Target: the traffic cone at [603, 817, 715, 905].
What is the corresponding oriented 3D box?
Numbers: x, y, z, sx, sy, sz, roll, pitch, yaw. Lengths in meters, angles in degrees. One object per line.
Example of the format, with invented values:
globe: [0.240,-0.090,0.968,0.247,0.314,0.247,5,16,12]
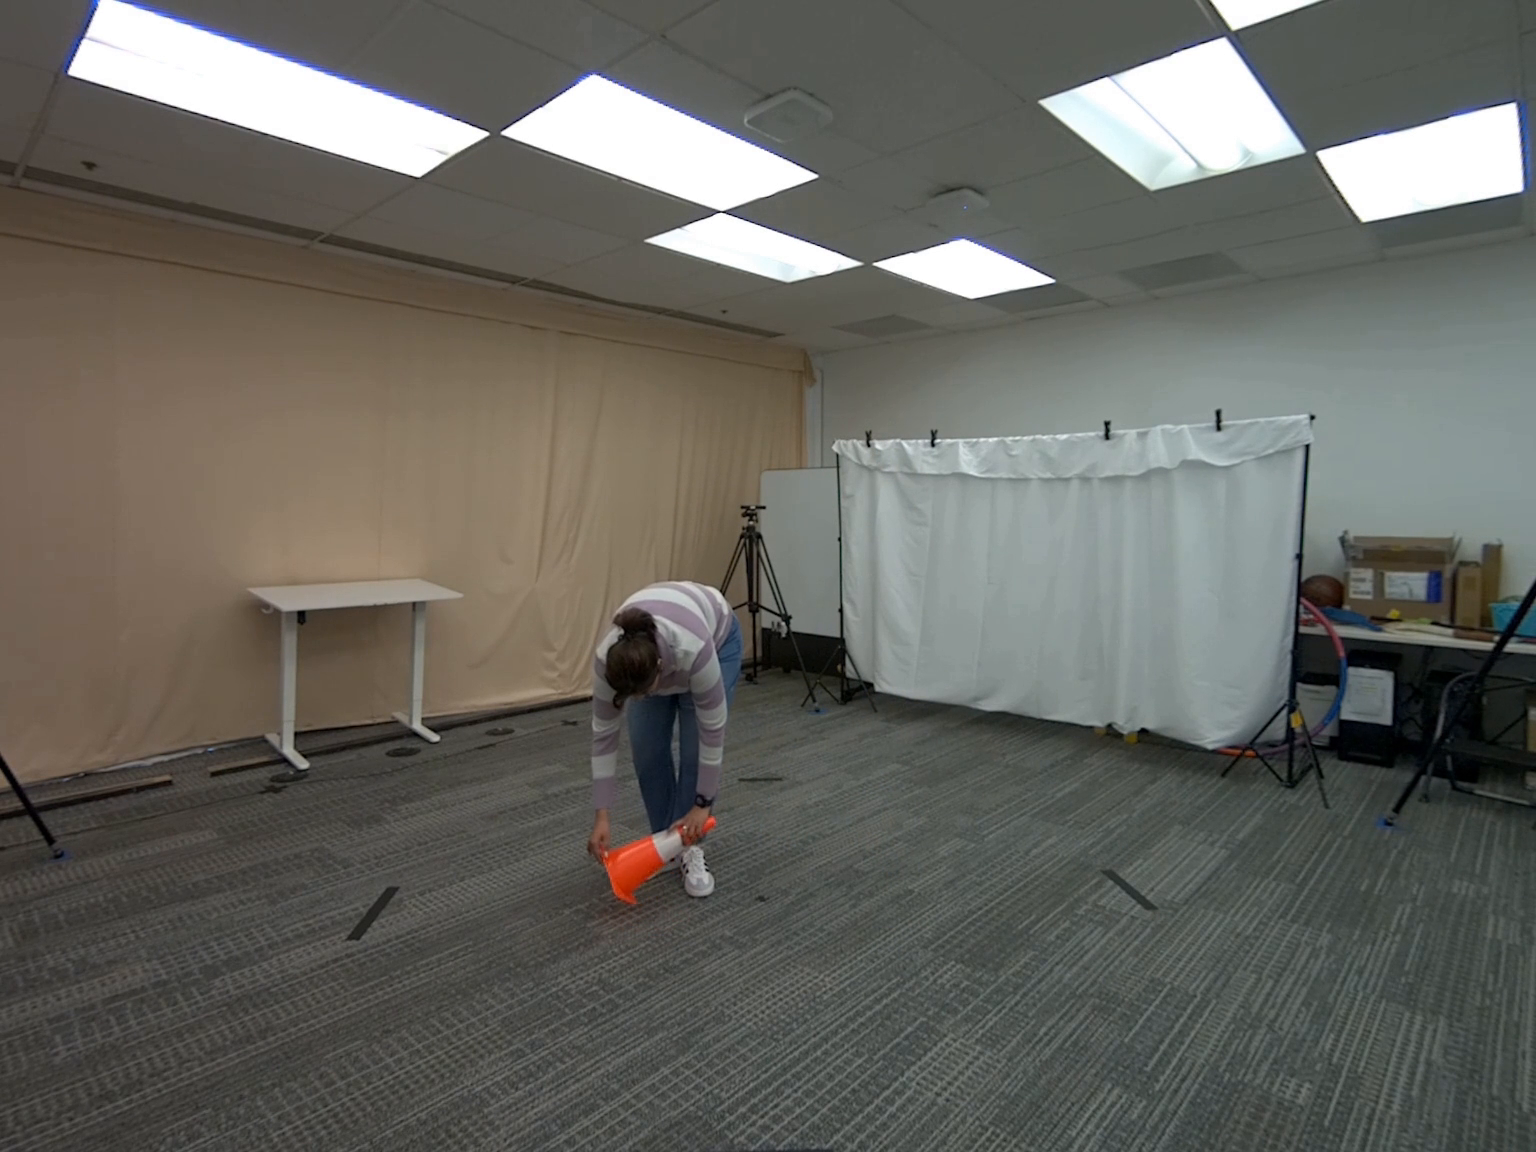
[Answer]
traffic cone: [-0.352,0.929,2.882,0.383,0.211,0.198,-27,-33,-3]
